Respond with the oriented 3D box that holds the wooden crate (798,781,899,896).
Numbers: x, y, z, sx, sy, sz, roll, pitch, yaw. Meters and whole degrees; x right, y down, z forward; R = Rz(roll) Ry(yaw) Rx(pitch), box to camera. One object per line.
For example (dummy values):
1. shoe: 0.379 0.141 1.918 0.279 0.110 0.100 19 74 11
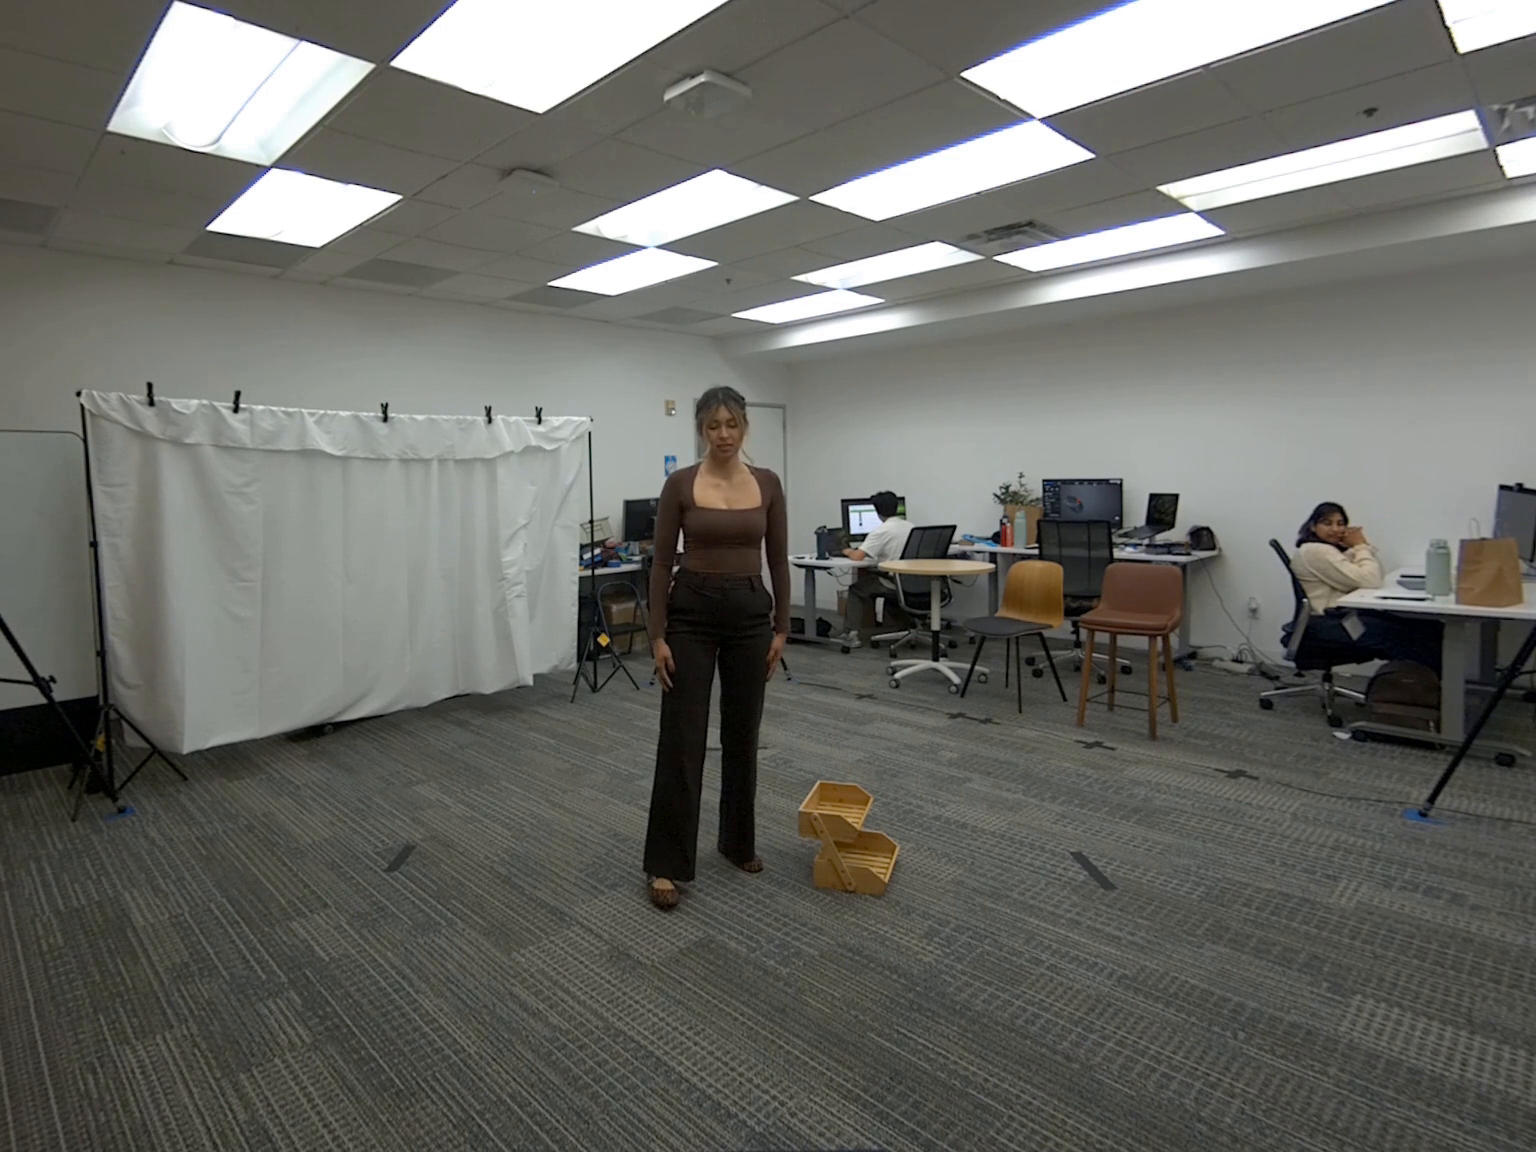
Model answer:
1. wooden crate: 0.292 0.905 3.017 0.307 0.272 0.320 0 5 18
